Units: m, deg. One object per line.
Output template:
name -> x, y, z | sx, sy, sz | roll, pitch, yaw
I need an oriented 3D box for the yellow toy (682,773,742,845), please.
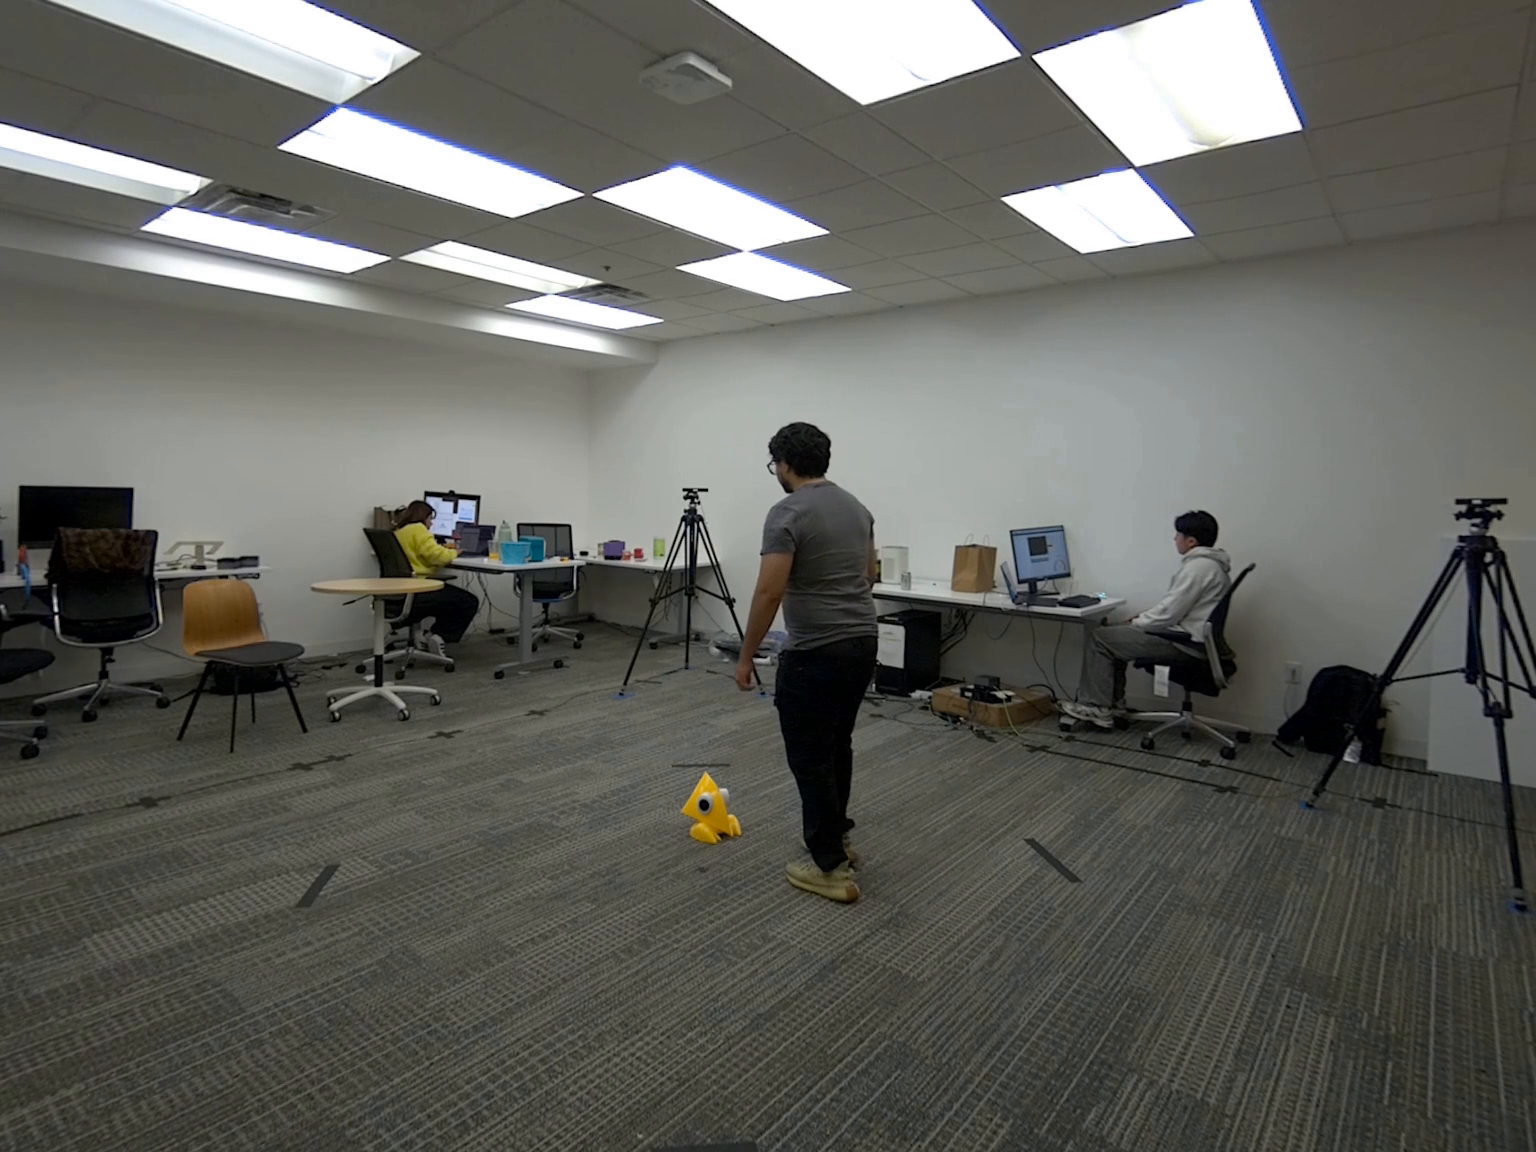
yellow toy -> -0.228, 0.924, 3.449 | 0.198, 0.230, 0.200 | -3, 6, -41
